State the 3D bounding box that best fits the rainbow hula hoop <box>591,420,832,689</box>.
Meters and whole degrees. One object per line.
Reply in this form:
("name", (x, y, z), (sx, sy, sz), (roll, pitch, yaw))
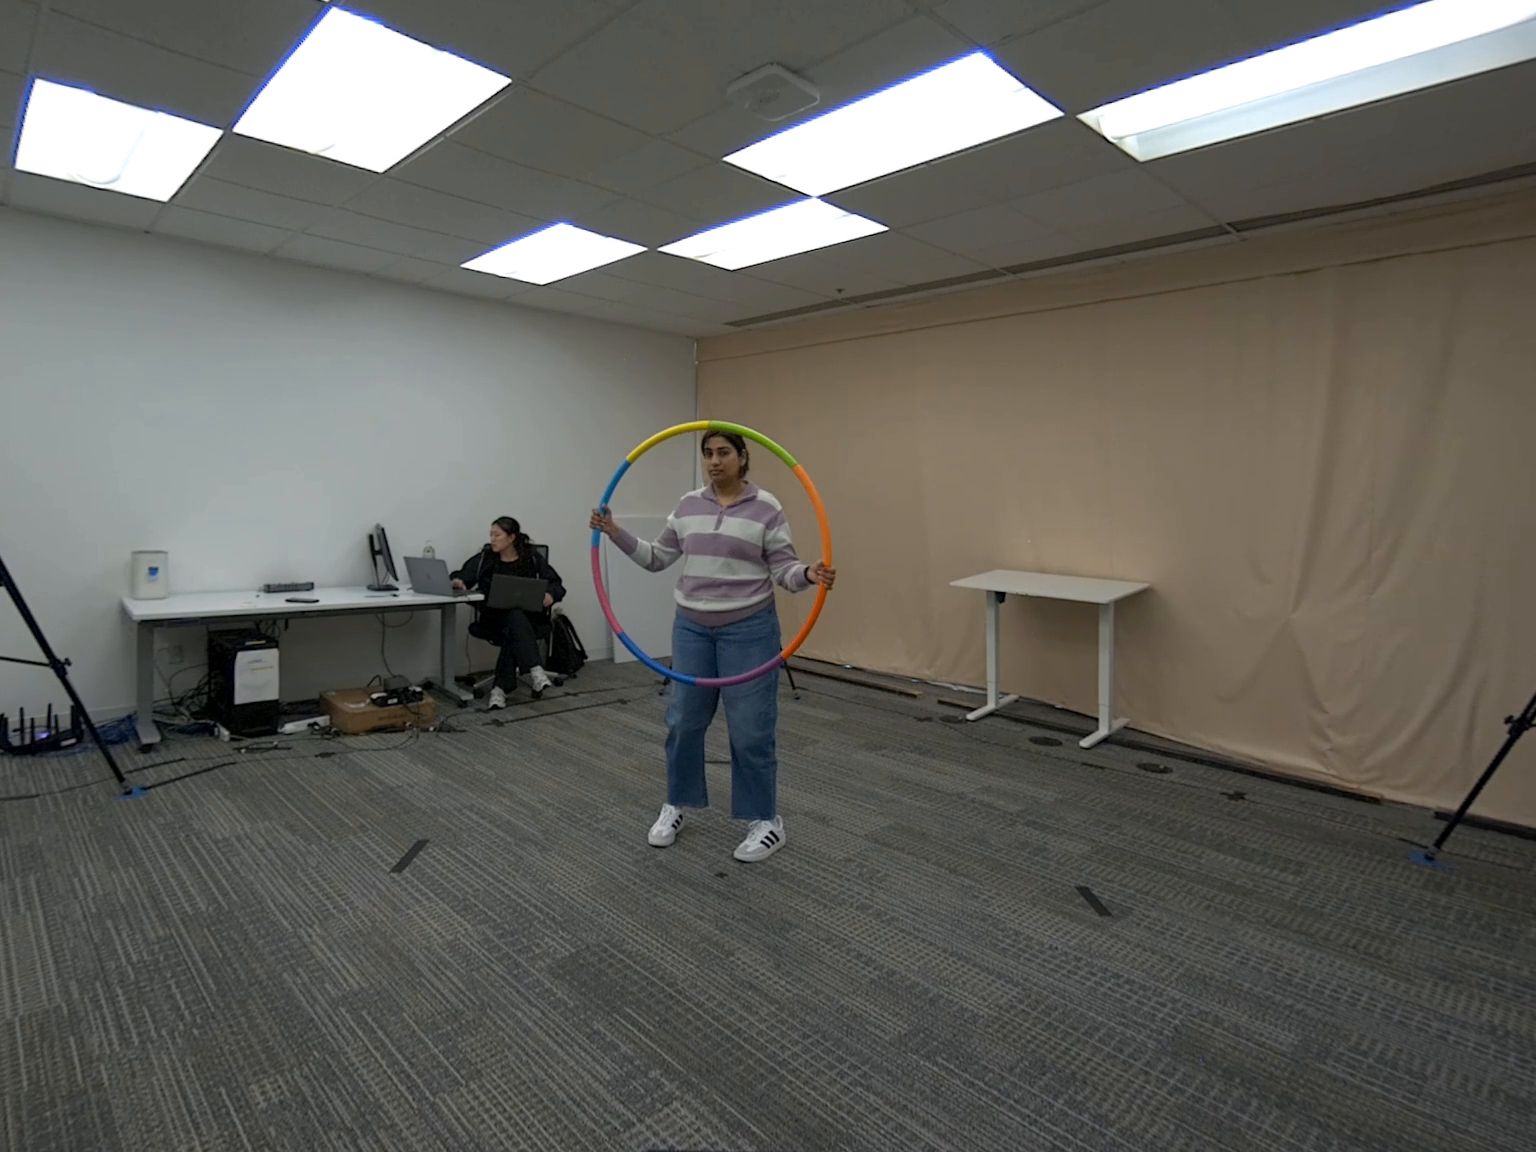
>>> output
("rainbow hula hoop", (-0.239, -0.078, 3.138), (0.996, 0.976, 0.035), (3, 3, 23))
